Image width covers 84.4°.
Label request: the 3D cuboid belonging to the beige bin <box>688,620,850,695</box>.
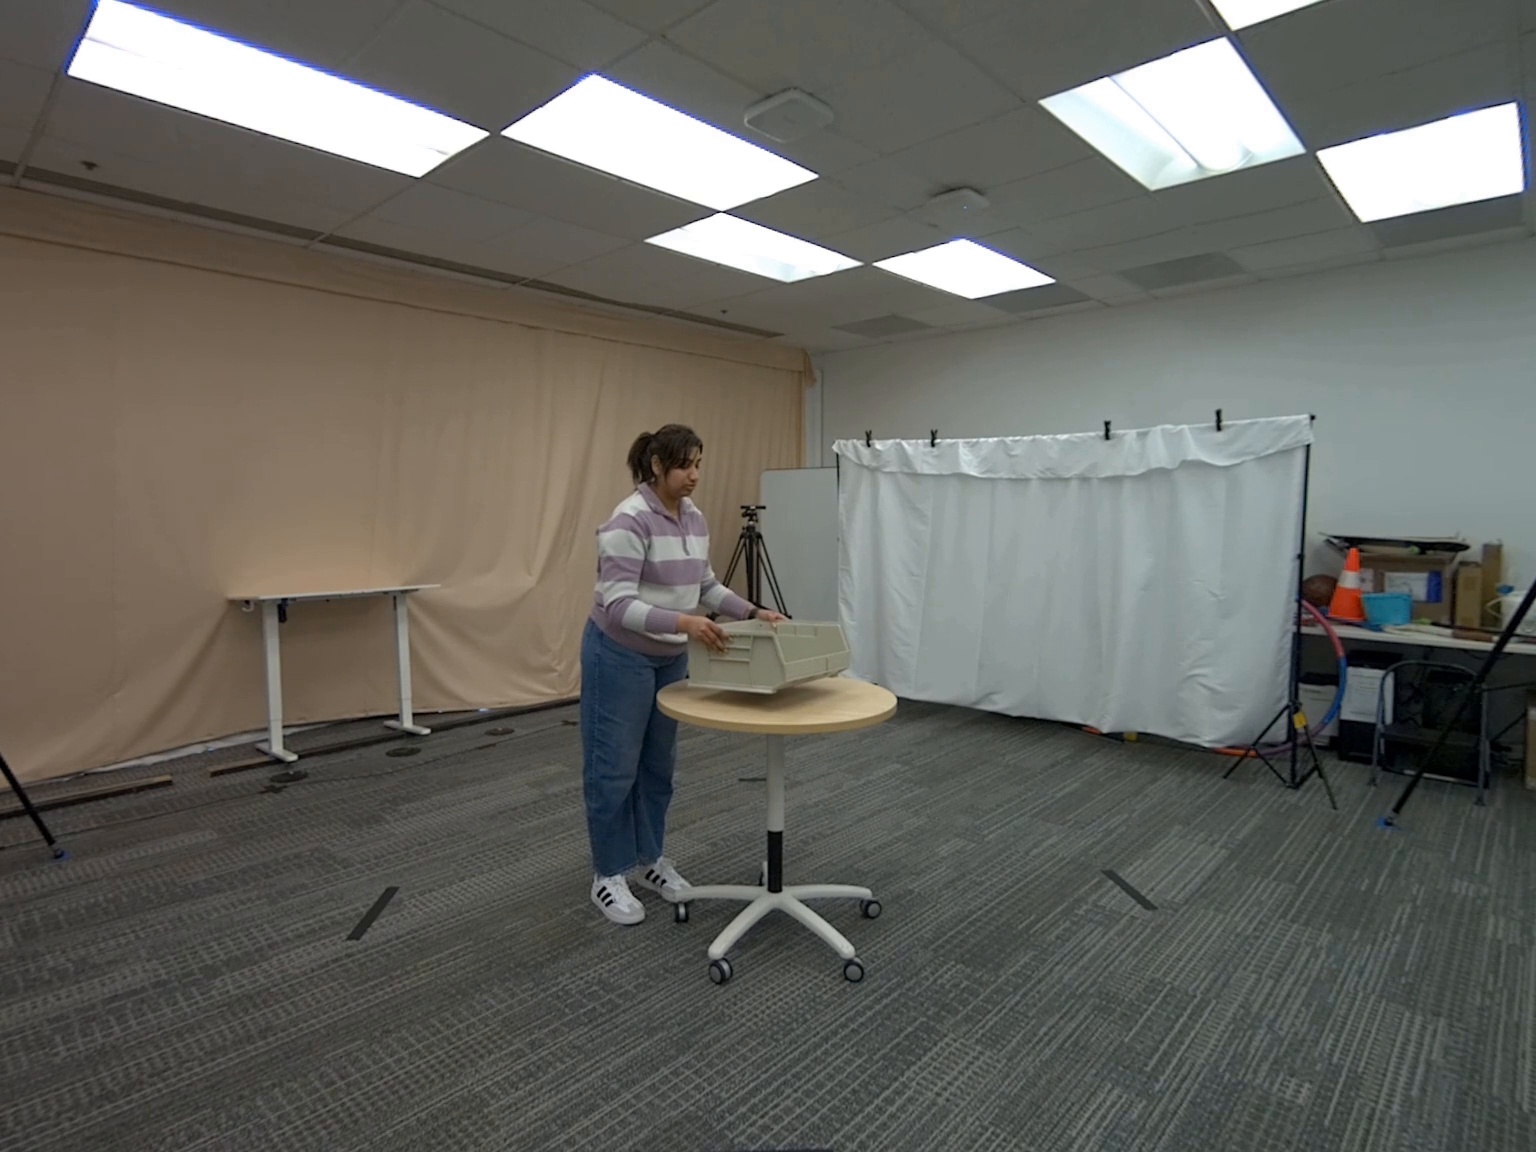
[{"bbox_3d":[0.006,0.246,2.694,0.388,0.189,0.410,-2,1,34],"label":"beige bin"}]
